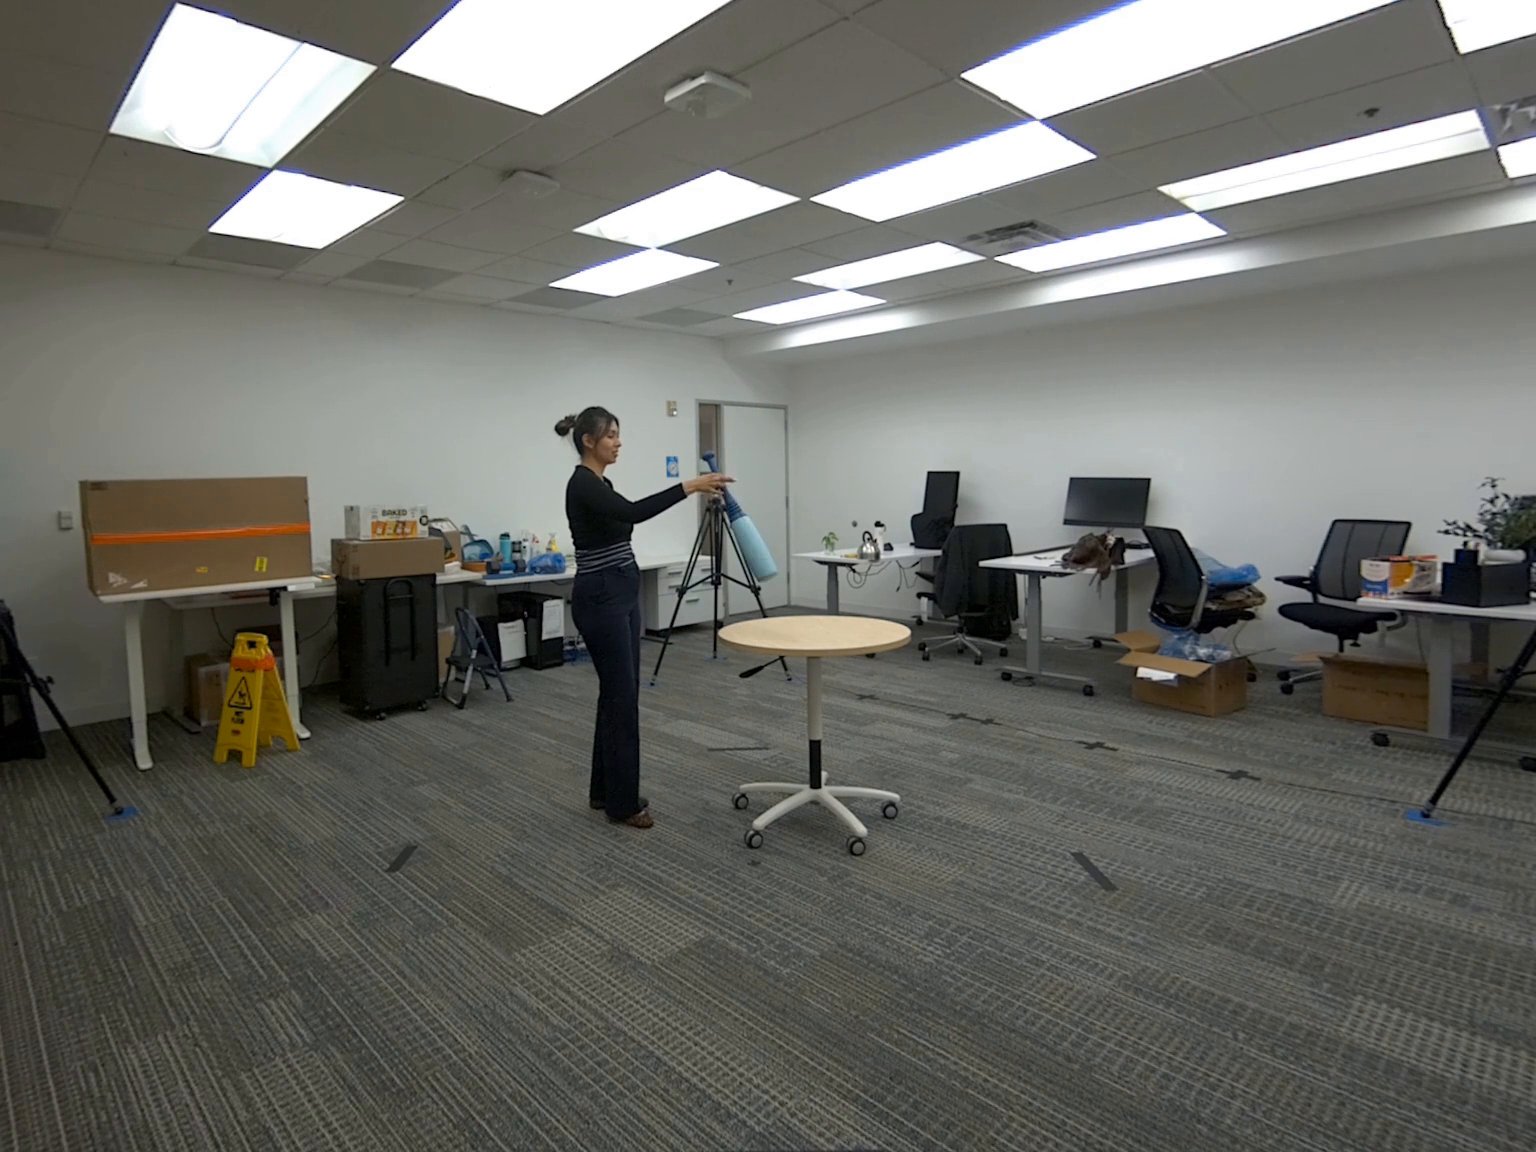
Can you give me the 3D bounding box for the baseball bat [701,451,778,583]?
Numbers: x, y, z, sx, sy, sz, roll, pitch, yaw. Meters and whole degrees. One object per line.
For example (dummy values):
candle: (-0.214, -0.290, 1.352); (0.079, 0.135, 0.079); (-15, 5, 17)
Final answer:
baseball bat: (-0.134, -0.227, 3.200); (0.089, 0.551, 0.088); (-25, -11, -6)
